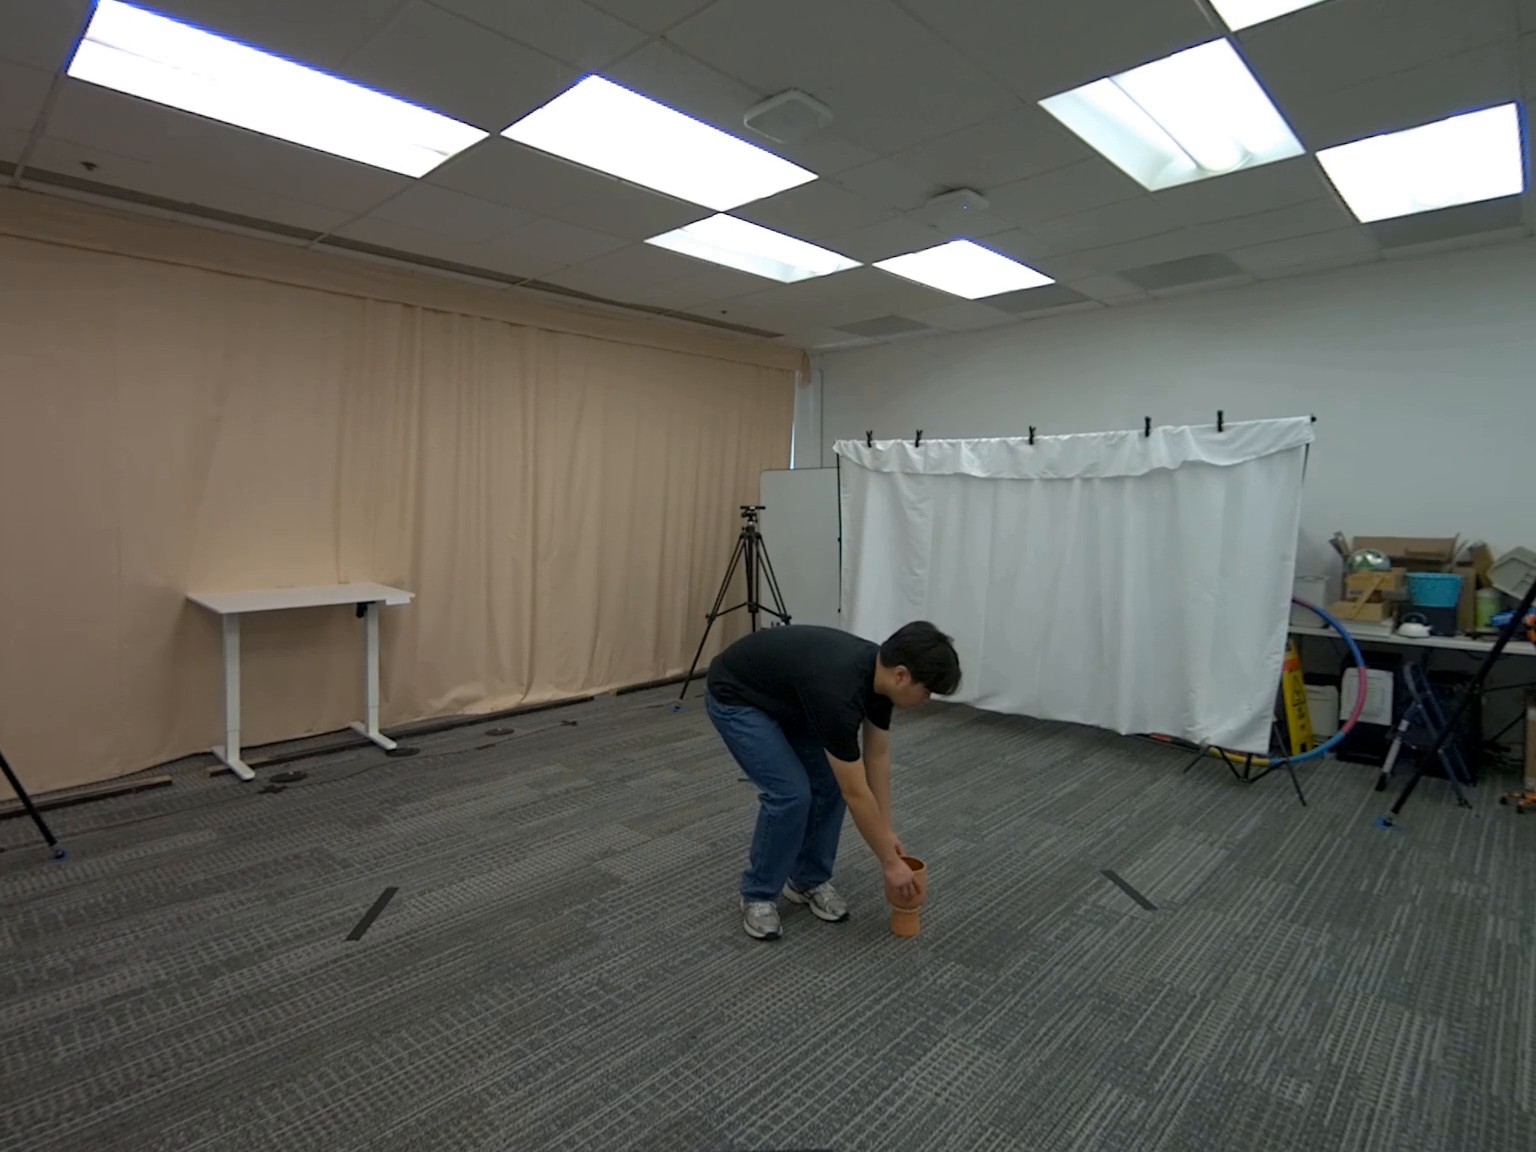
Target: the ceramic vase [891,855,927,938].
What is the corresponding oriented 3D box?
[{"bbox_3d":[0.455,1.051,2.750,0.139,0.219,0.154,2,4,33],"label":"ceramic vase"}]
